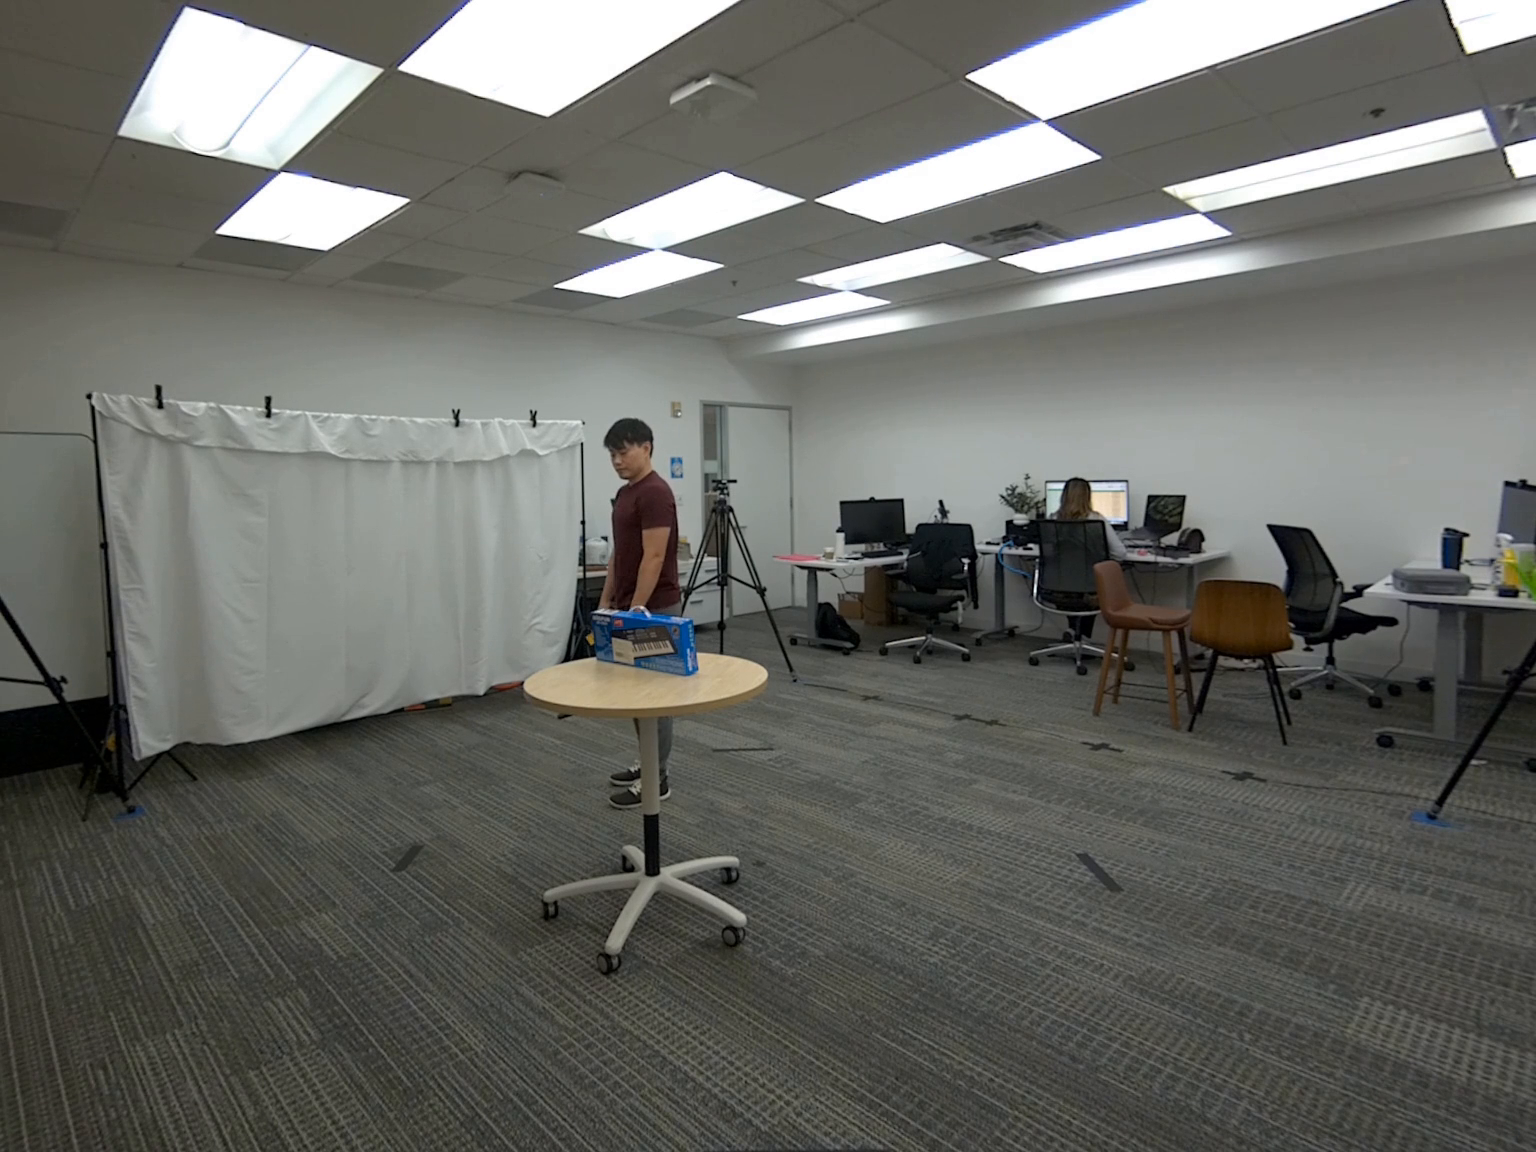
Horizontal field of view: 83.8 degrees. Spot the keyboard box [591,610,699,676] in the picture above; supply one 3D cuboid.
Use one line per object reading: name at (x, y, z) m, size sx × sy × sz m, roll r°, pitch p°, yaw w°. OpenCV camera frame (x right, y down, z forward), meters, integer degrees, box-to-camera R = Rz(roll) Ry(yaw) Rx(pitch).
keyboard box at (-0.421, 0.219, 2.838) m, size 0.450 × 0.174 × 0.058 m, roll 3°, pitch 13°, yaw 39°
